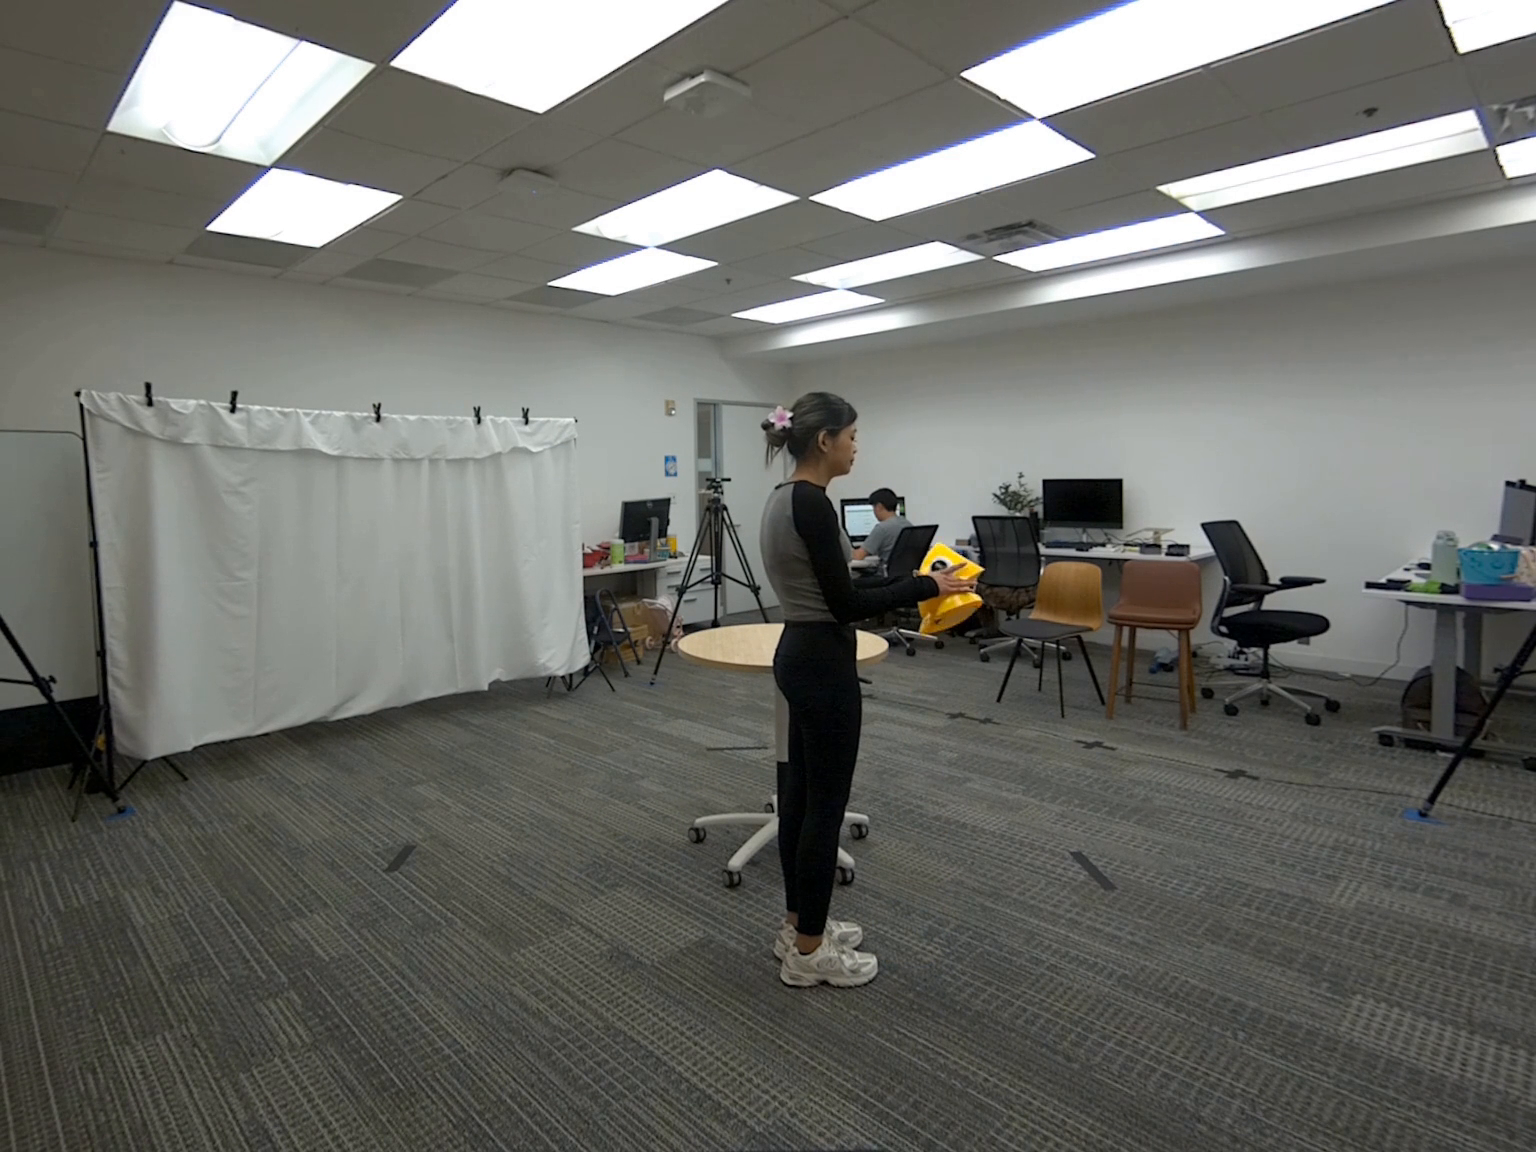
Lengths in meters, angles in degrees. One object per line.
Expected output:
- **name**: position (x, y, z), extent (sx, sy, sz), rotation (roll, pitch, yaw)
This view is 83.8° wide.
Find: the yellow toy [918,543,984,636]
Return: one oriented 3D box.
- **yellow toy**: position (0.489, 0.019, 2.463), extent (0.191, 0.236, 0.202), rotation (-14, -23, -18)
